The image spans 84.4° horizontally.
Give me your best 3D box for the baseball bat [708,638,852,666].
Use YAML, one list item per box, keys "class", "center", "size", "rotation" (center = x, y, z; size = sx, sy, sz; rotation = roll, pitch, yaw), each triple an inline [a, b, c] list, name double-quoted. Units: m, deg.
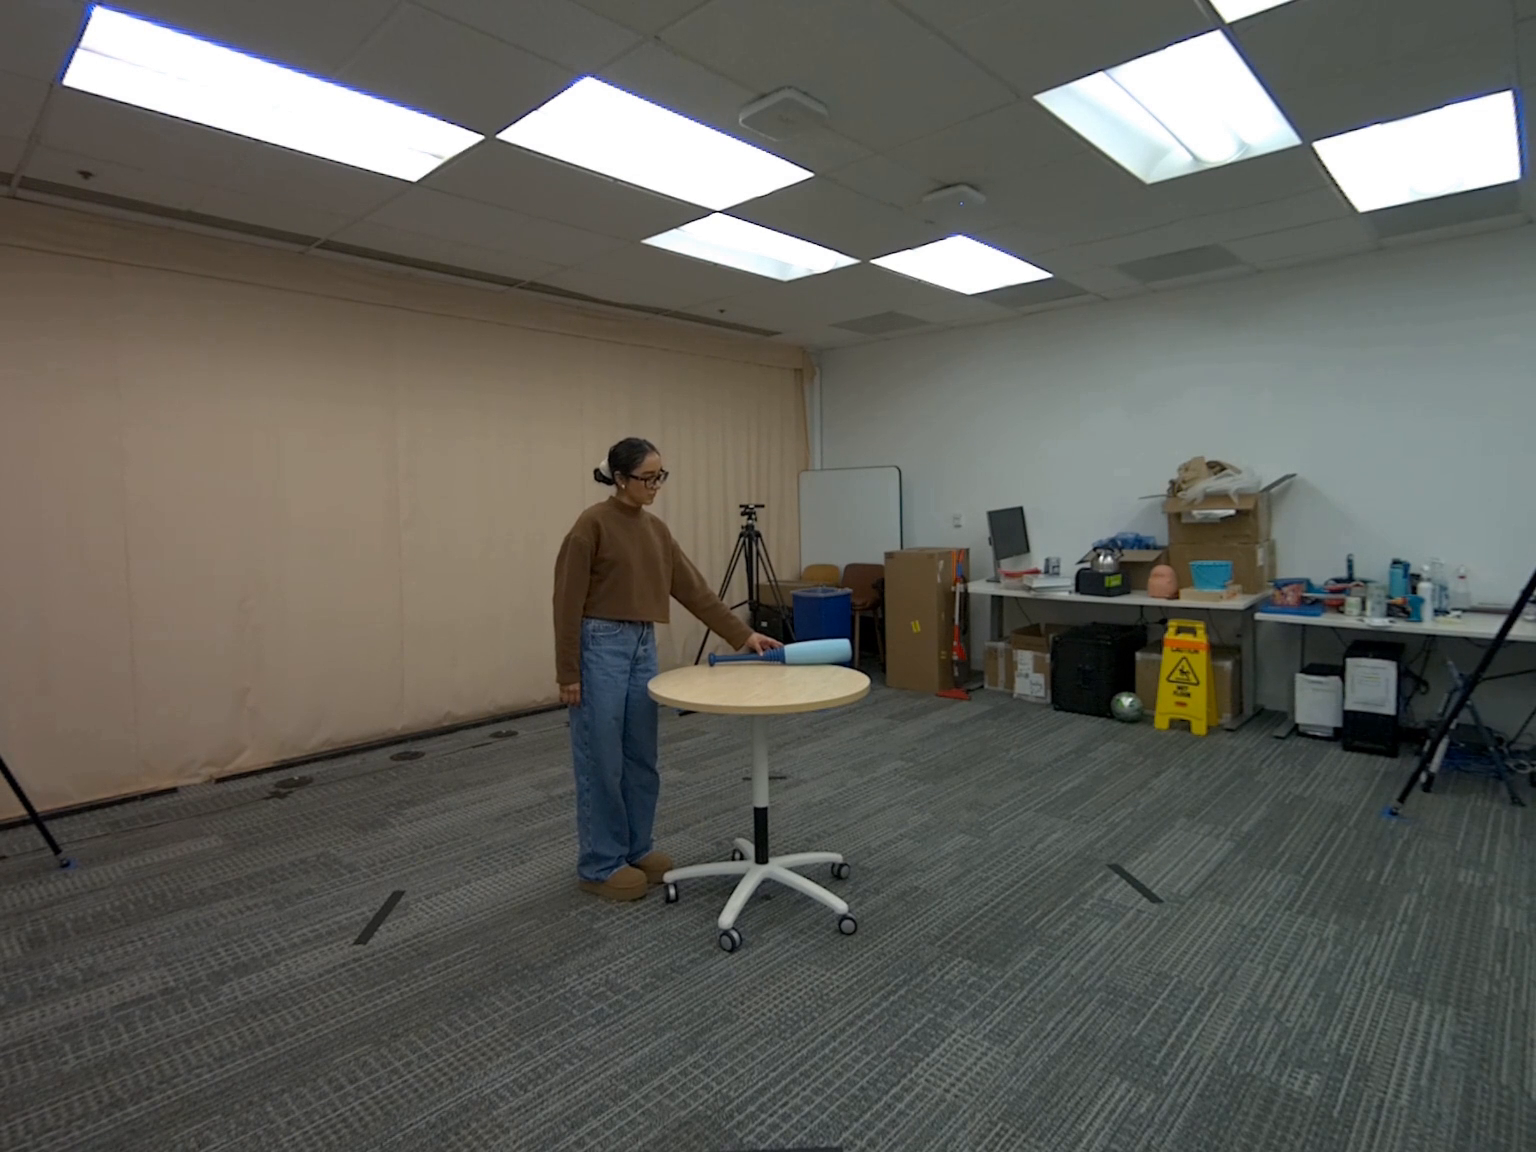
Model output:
- class: "baseball bat"
  center: [0.040, 0.309, 3.202]
  size: [0.545, 0.089, 0.089]
  rotation: [-5, 4, 4]
